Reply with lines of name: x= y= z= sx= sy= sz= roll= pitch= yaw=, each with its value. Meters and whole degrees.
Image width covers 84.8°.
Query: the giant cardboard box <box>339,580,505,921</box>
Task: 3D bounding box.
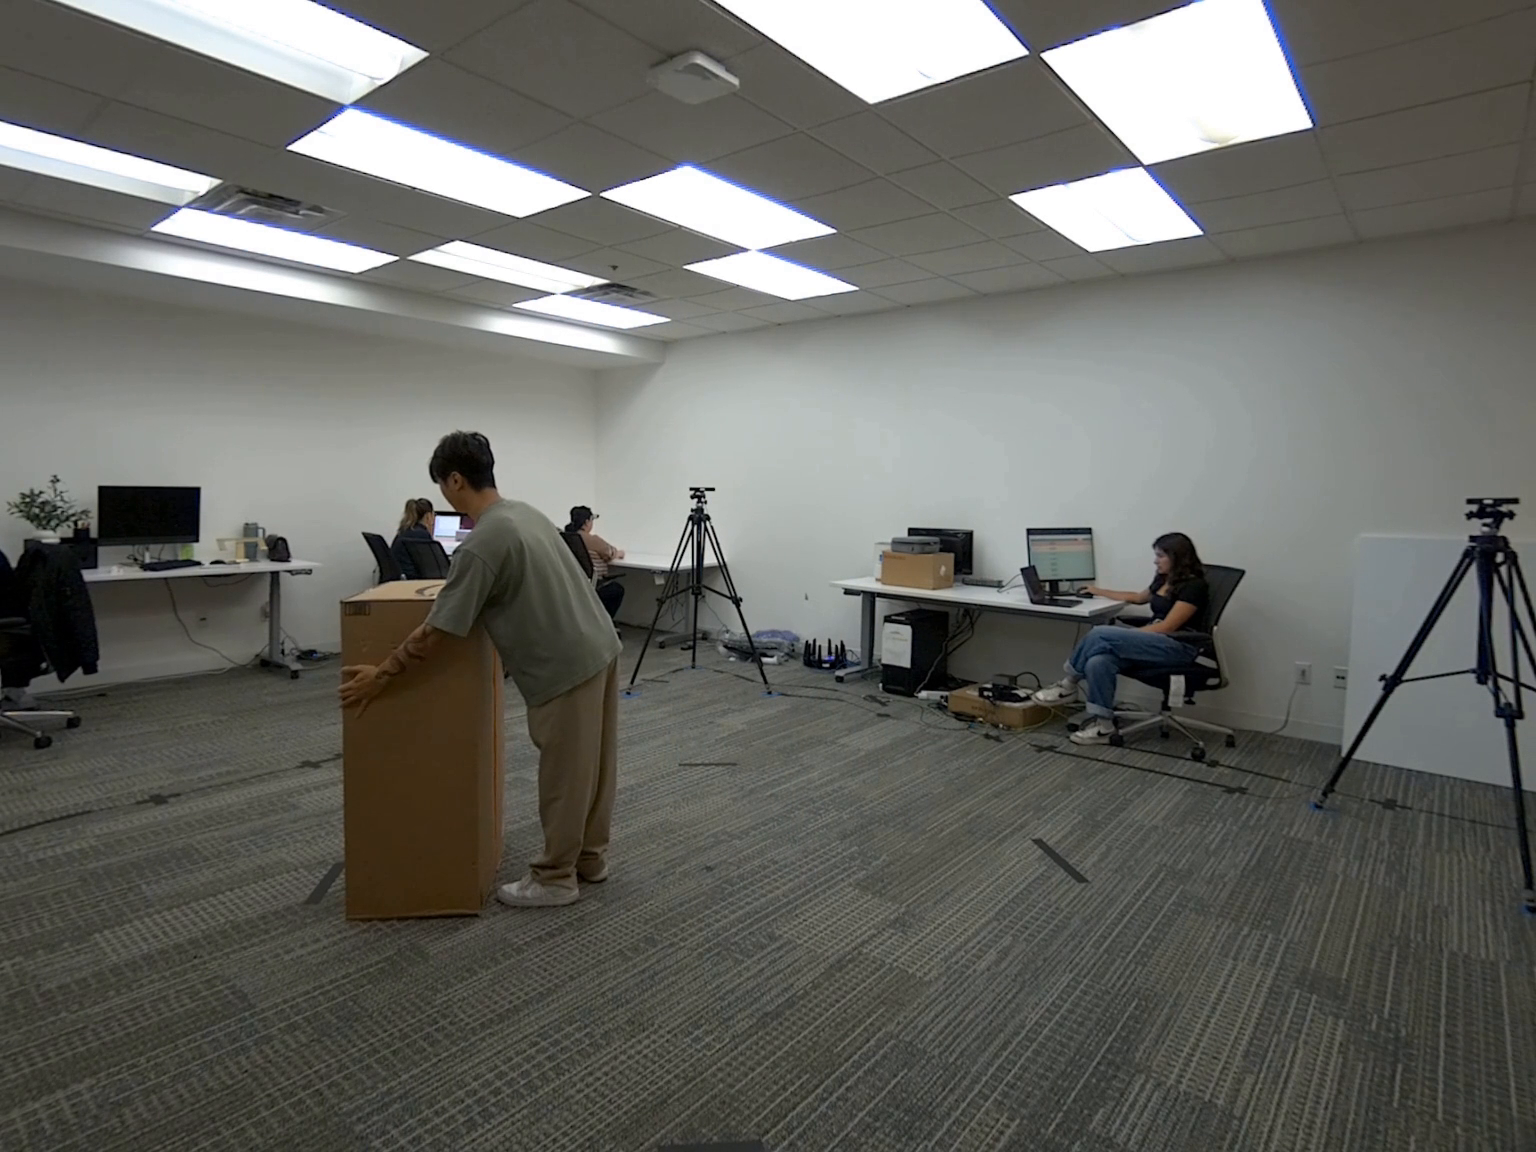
giant cardboard box: x=-1.188 y=0.554 z=2.972 sx=0.423 sy=1.023 sz=0.584 roll=0 pitch=3 yaw=-9
